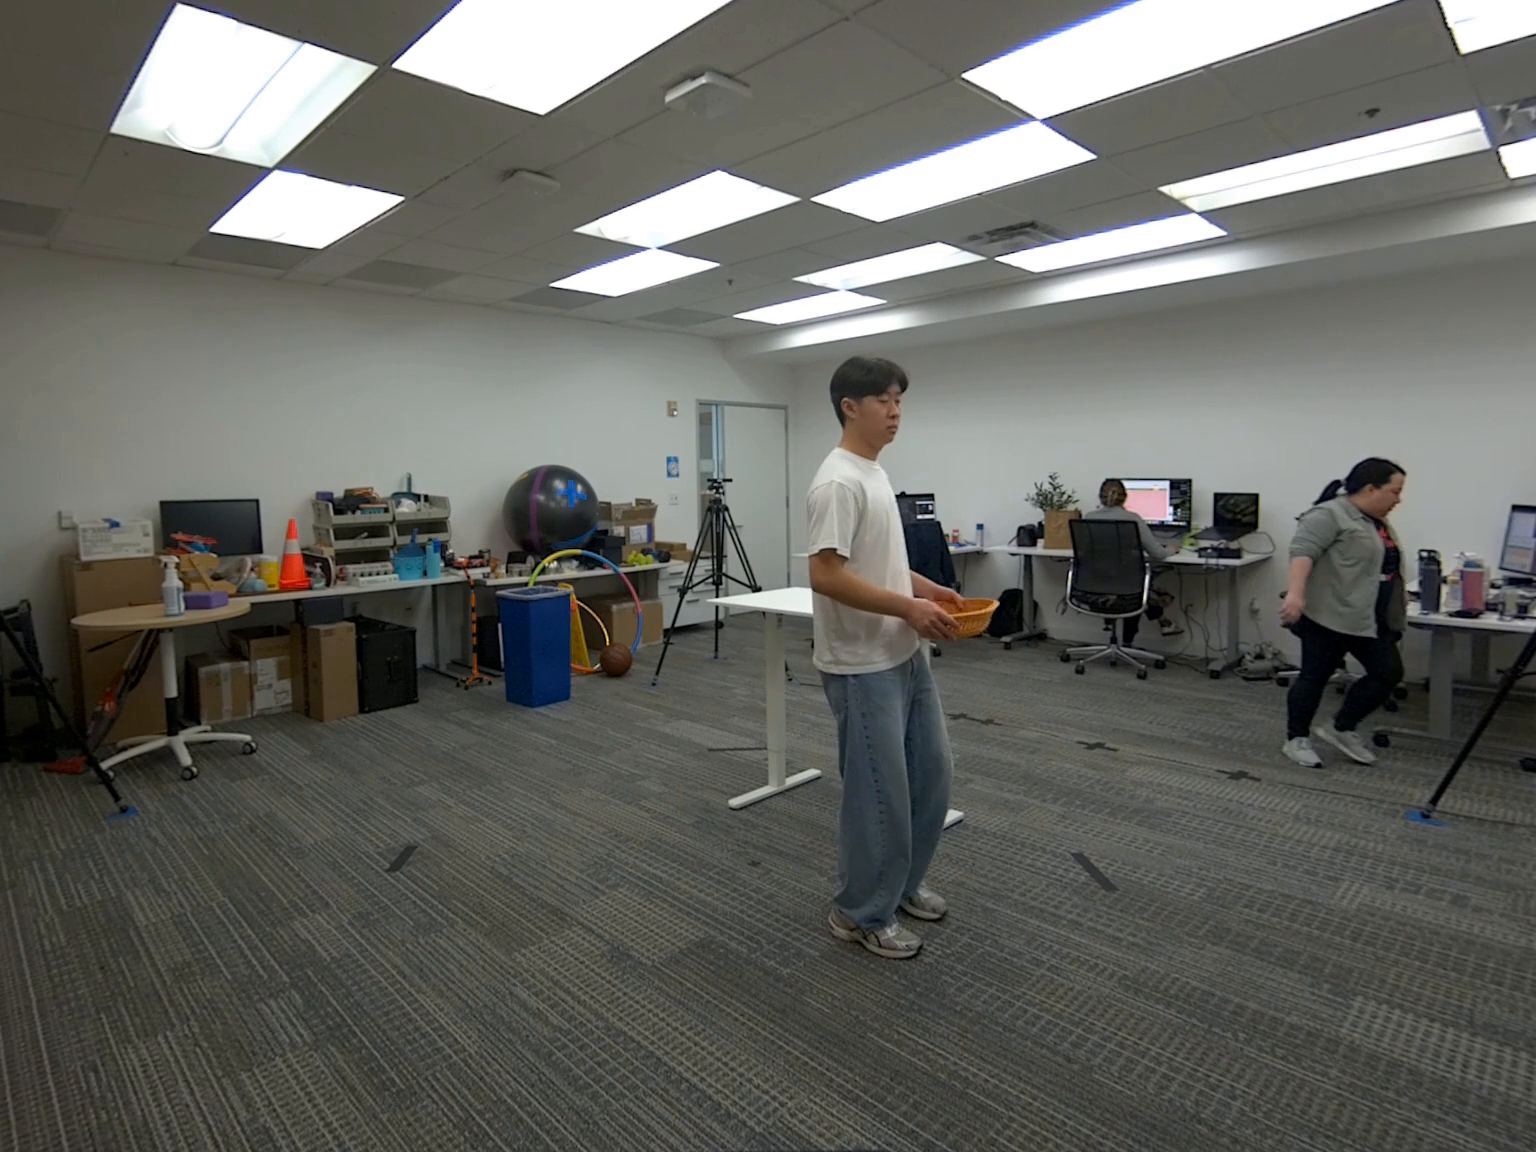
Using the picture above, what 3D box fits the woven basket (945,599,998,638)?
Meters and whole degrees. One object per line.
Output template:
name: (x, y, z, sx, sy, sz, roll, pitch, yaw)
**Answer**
woven basket: (0.524, 0.132, 2.499, 0.256, 0.073, 0.346, -6, 4, 17)
